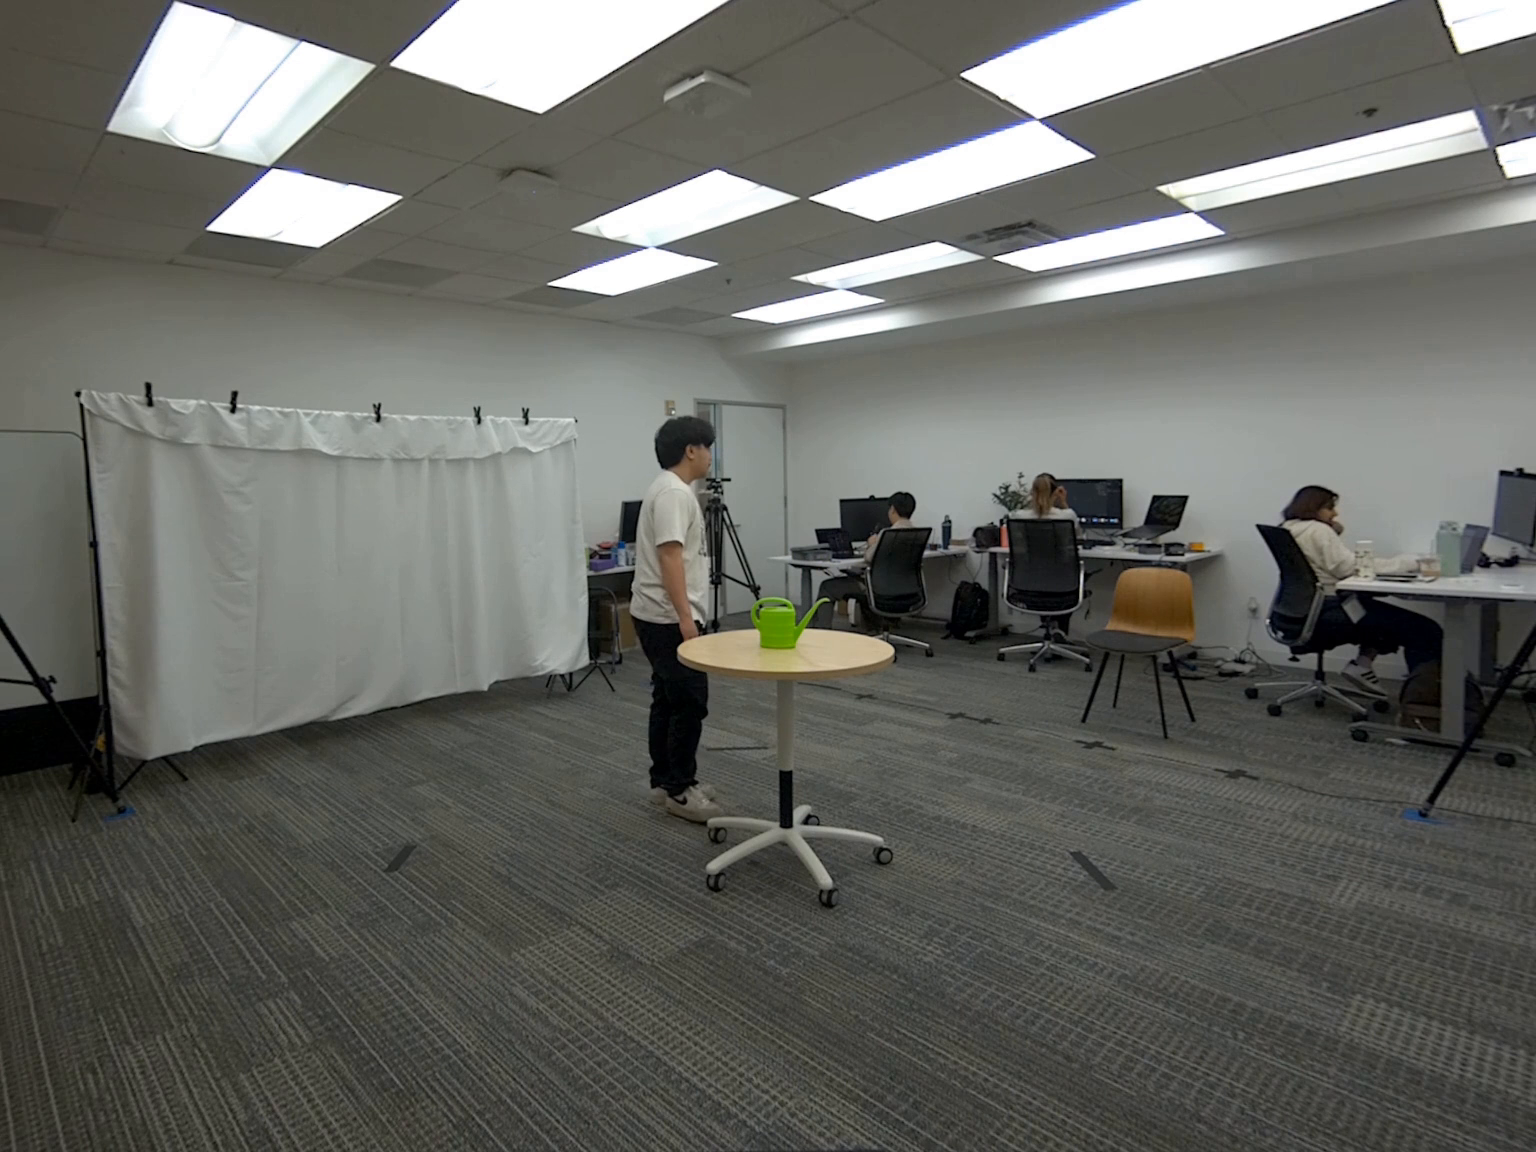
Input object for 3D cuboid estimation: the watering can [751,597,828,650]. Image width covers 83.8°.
[{"bbox_3d":[0.076,0.171,3.032,0.285,0.176,0.096,1,4,31],"label":"watering can"}]
